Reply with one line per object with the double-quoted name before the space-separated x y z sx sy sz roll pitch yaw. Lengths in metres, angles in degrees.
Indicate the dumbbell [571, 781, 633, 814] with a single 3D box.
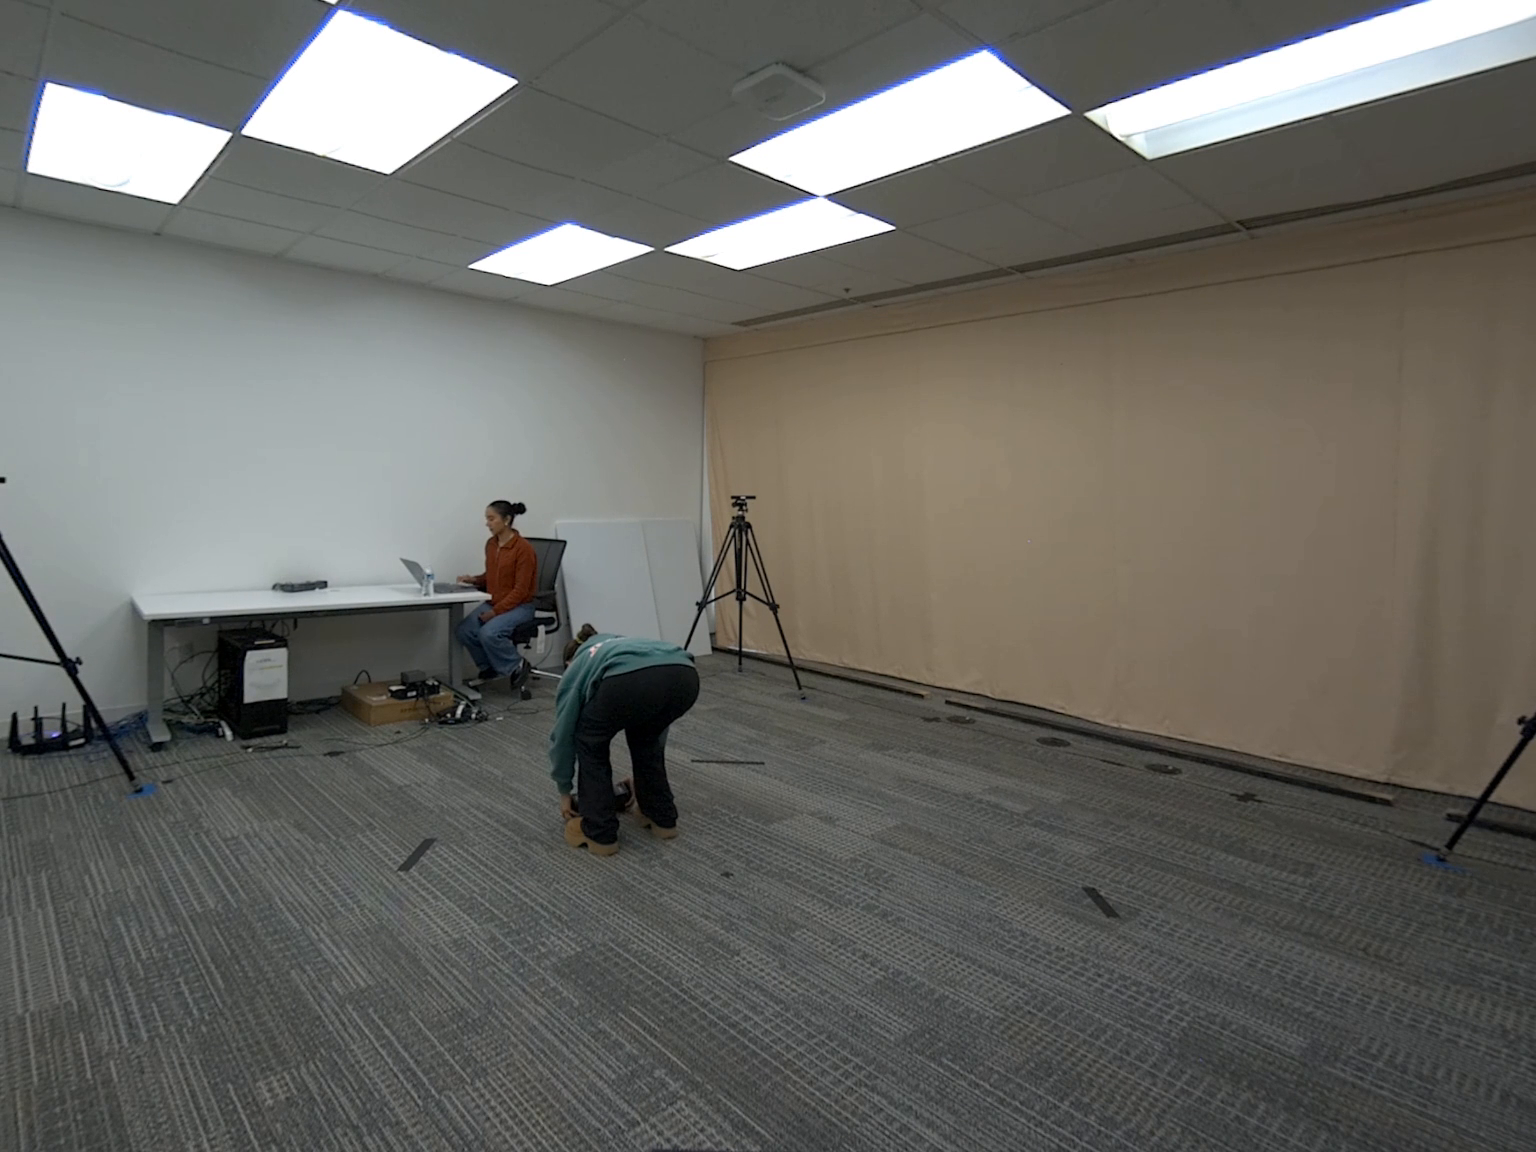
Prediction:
"dumbbell" -0.731 0.978 3.637 0.287 0.123 0.111 -4 1 -41
